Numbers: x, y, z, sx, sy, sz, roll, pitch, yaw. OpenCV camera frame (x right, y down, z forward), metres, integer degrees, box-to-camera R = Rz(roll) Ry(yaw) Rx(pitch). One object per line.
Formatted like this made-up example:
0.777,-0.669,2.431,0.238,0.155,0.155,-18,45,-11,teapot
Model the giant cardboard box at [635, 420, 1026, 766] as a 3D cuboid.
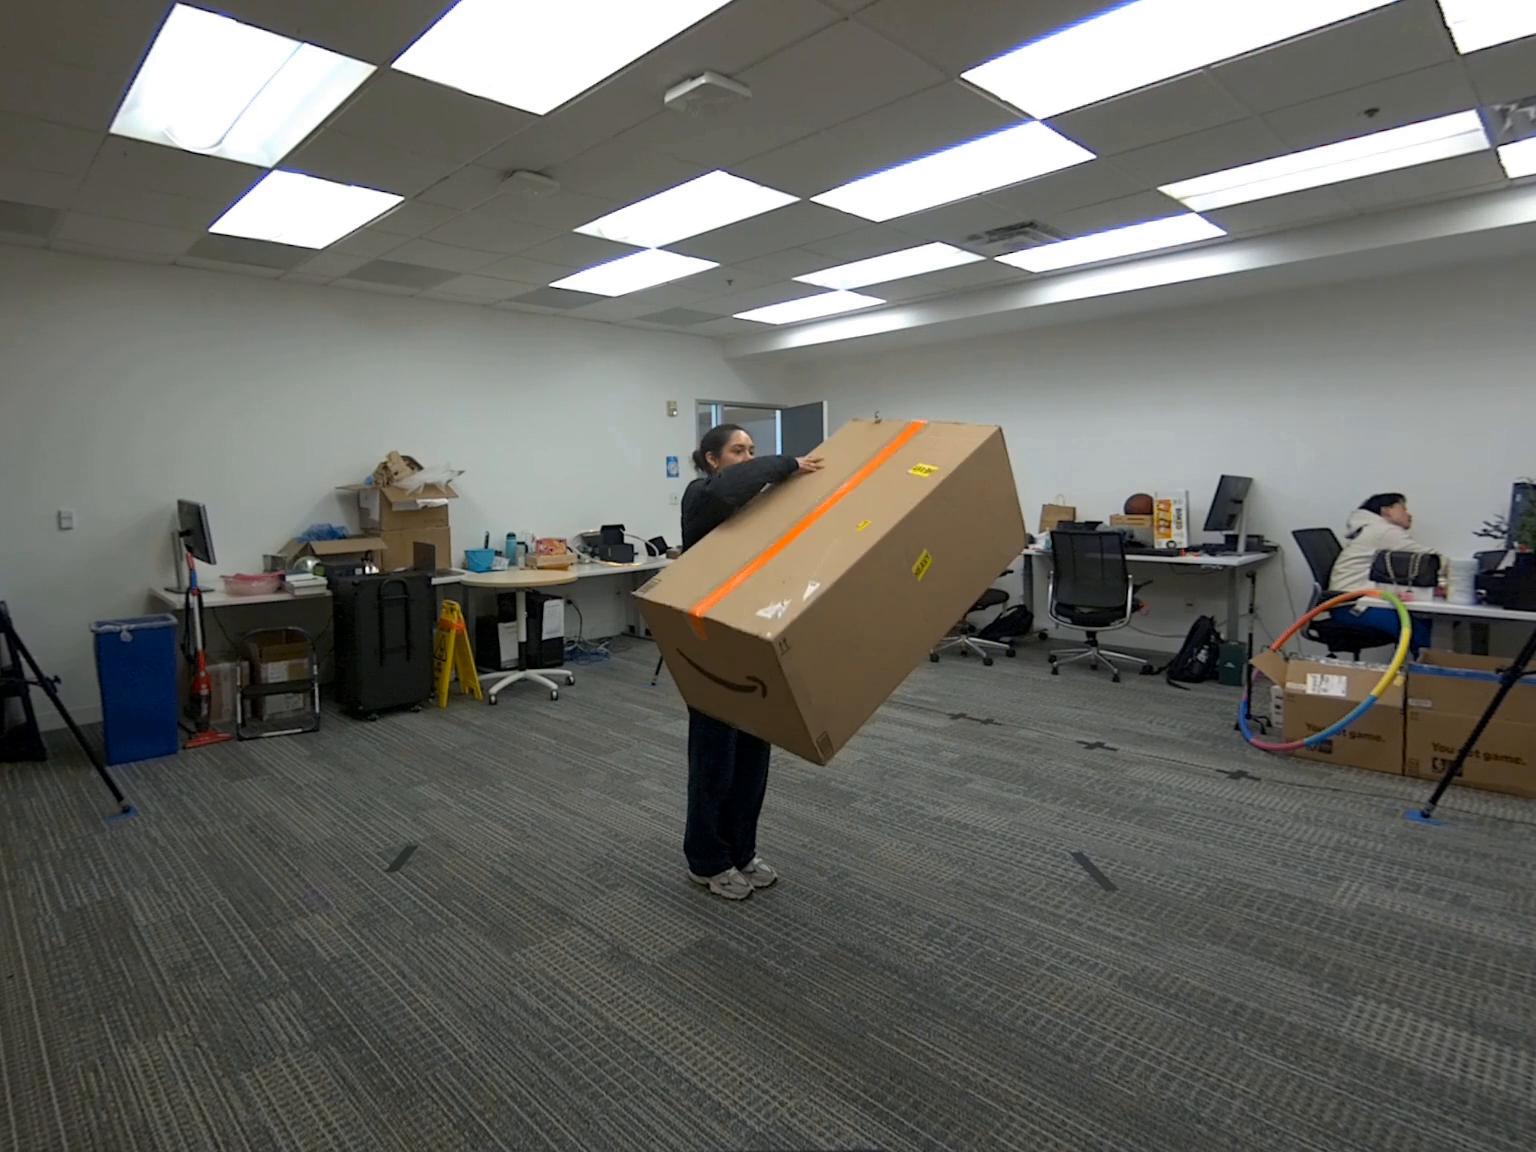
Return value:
0.210,-0.005,2.529,0.597,0.414,1.021,13,45,47,giant cardboard box
